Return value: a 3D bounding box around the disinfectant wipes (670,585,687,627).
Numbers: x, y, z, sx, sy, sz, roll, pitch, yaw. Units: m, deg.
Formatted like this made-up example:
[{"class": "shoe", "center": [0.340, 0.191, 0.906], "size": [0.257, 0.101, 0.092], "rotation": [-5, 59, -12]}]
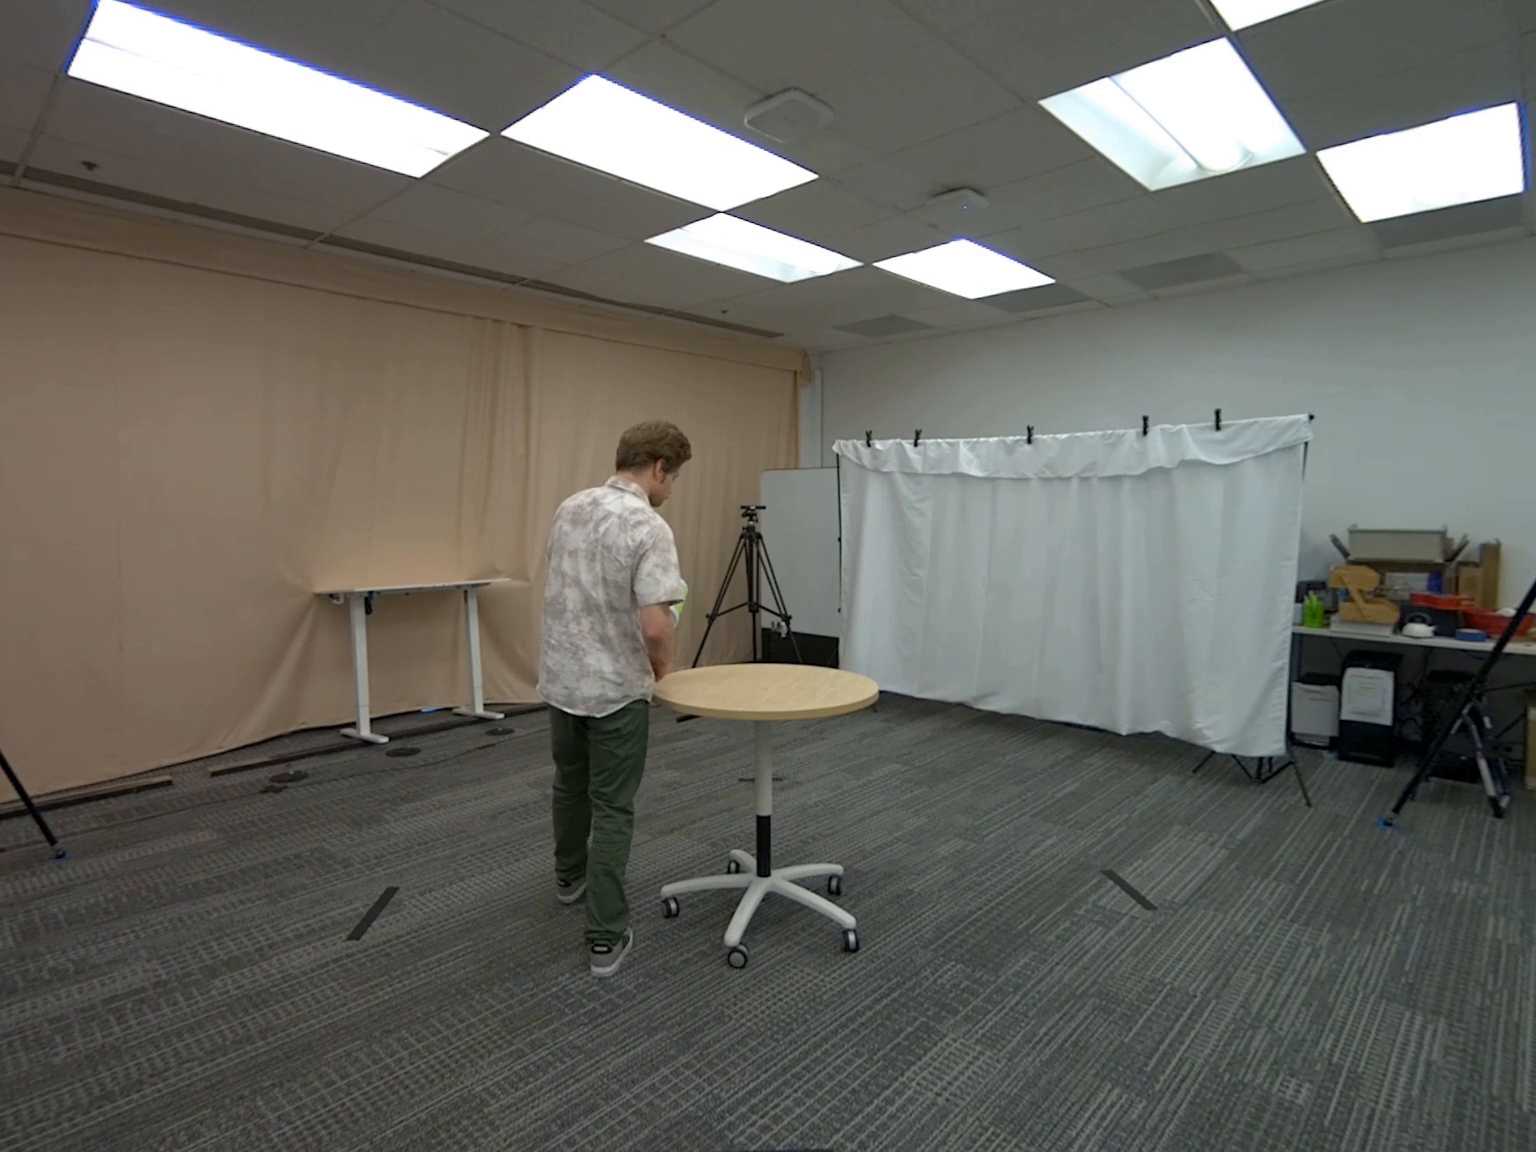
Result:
[{"class": "disinfectant wipes", "center": [-0.347, 0.095, 2.966], "size": [0.118, 0.116, 0.220], "rotation": [0, 30, 3]}]
